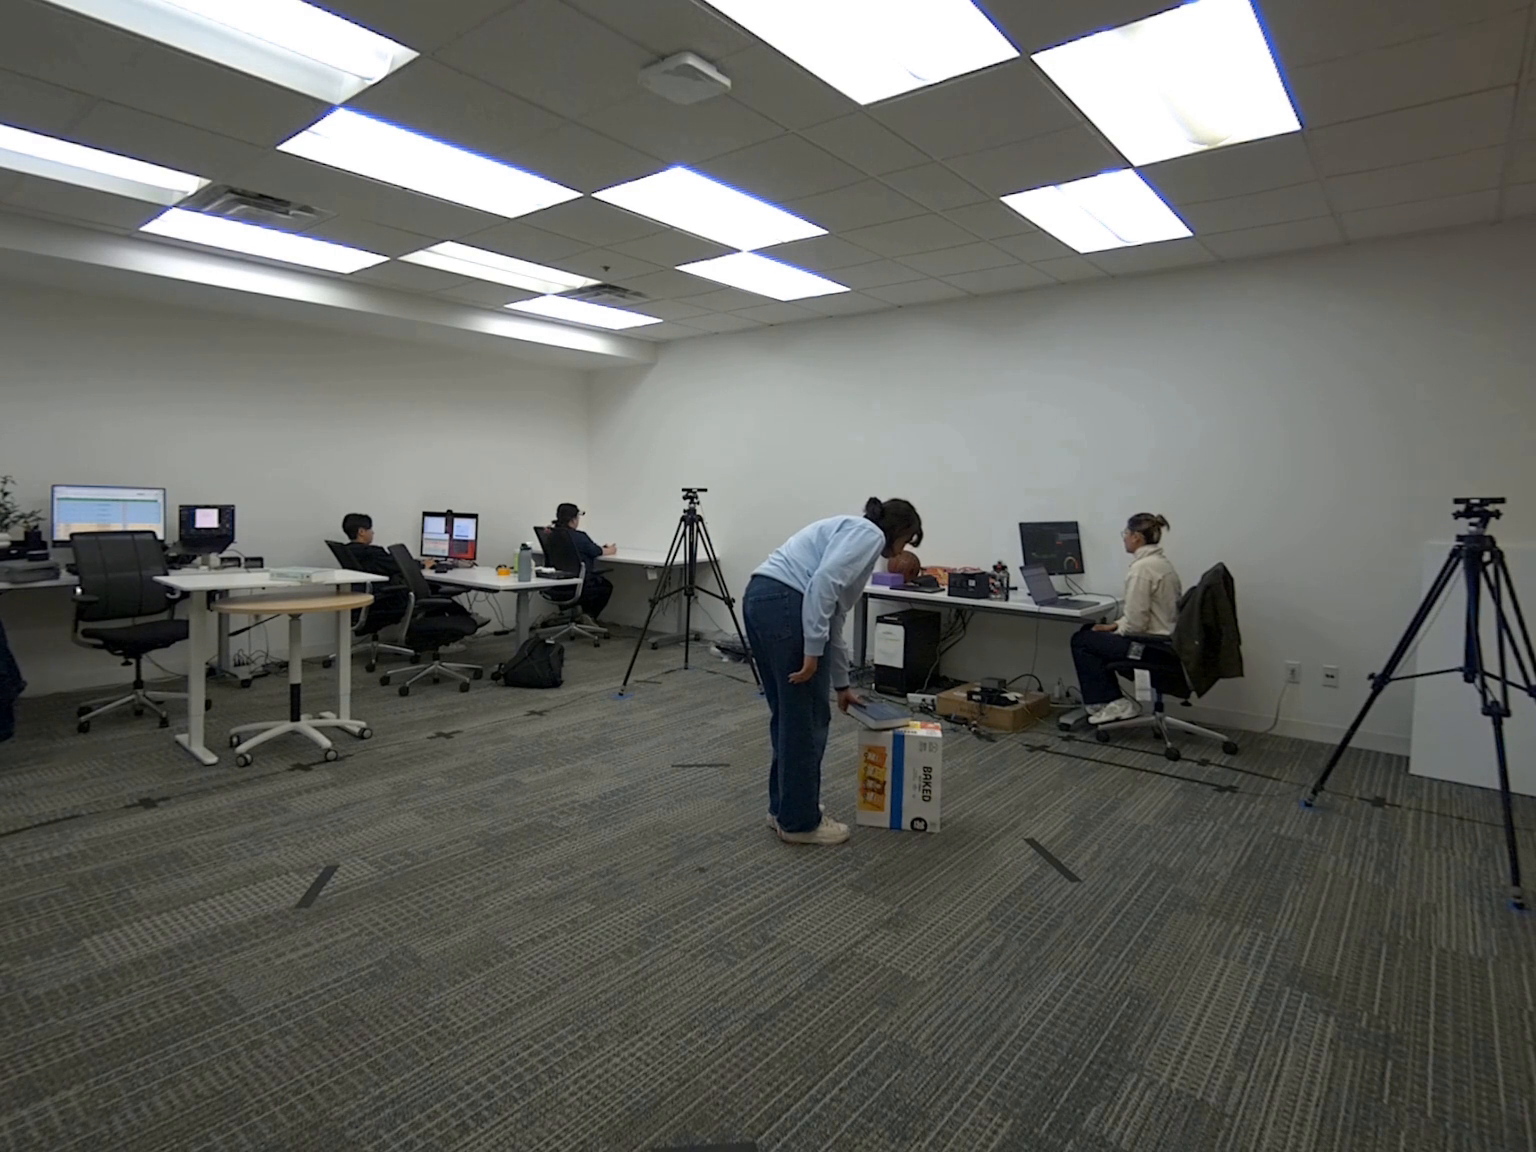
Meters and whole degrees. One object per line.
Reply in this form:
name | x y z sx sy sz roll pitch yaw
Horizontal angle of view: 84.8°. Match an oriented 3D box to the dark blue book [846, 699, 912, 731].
dark blue book | 0.468 0.587 3.602 0.237 0.045 0.170 5 14 -41
